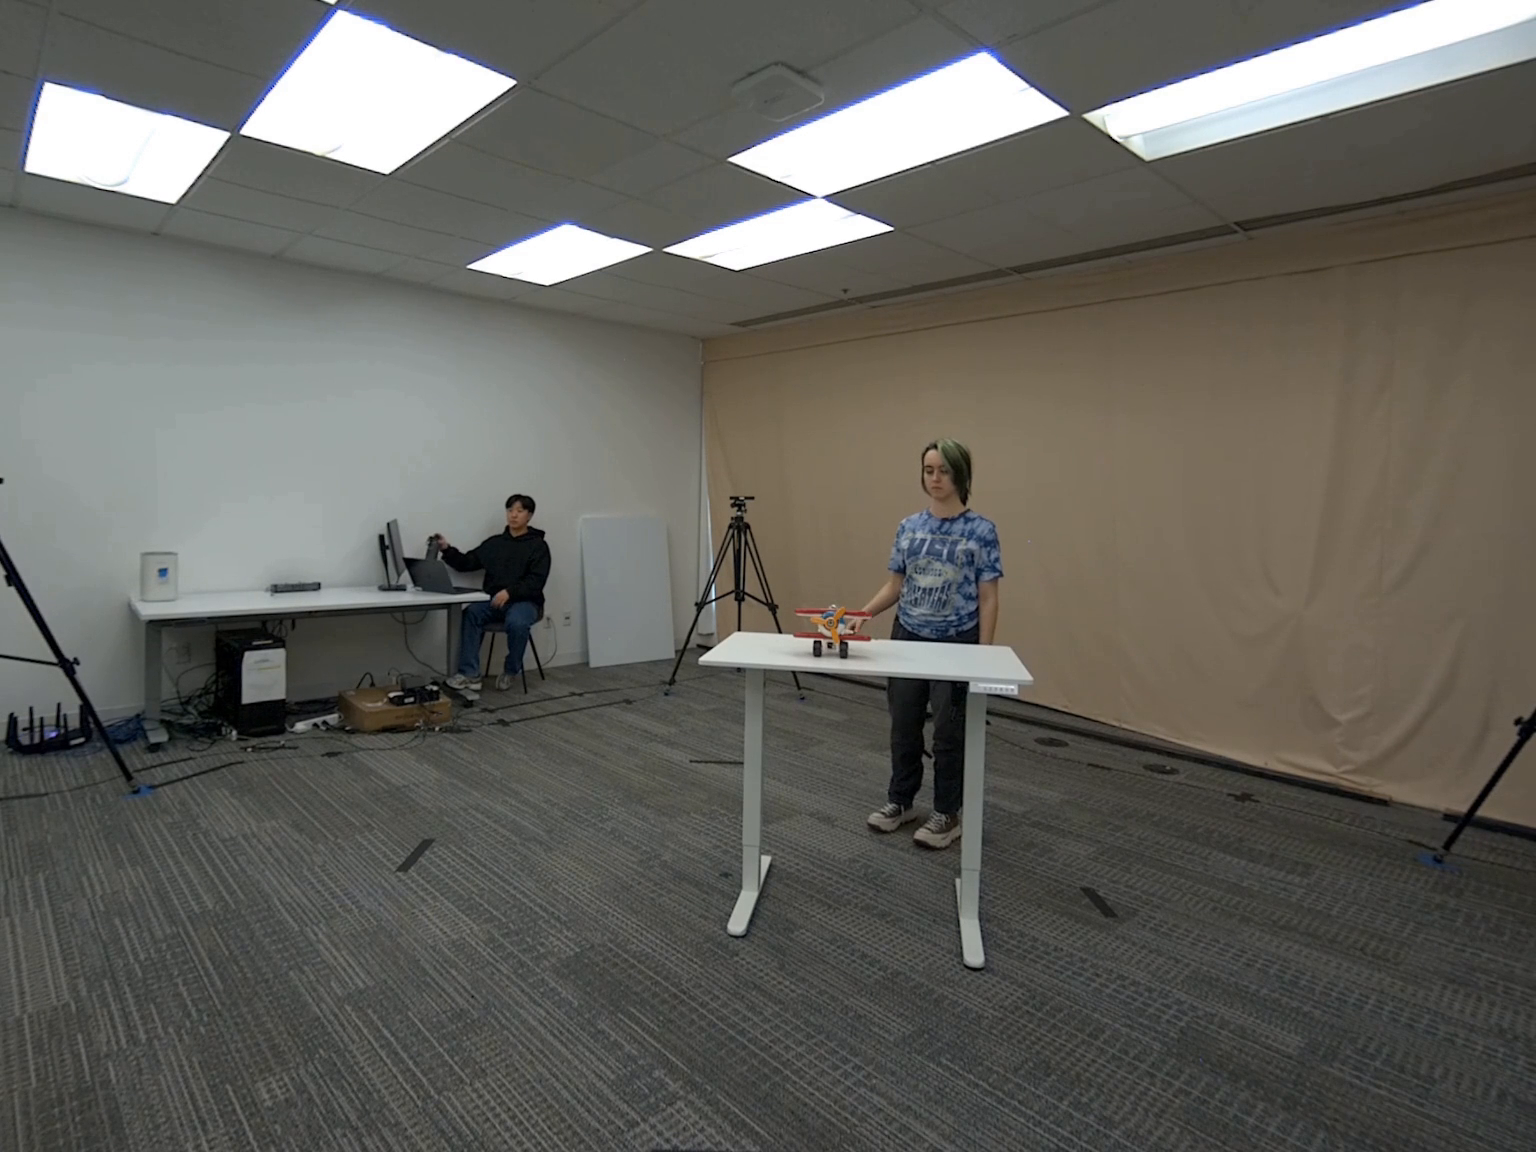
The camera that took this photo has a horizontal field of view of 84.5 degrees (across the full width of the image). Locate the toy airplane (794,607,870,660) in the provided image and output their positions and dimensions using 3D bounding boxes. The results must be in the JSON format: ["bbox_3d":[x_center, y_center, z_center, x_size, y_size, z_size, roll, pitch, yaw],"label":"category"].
[{"bbox_3d":[0.193,0.181,2.810,0.247,0.156,0.264,-1,5,-19],"label":"toy airplane"}]
